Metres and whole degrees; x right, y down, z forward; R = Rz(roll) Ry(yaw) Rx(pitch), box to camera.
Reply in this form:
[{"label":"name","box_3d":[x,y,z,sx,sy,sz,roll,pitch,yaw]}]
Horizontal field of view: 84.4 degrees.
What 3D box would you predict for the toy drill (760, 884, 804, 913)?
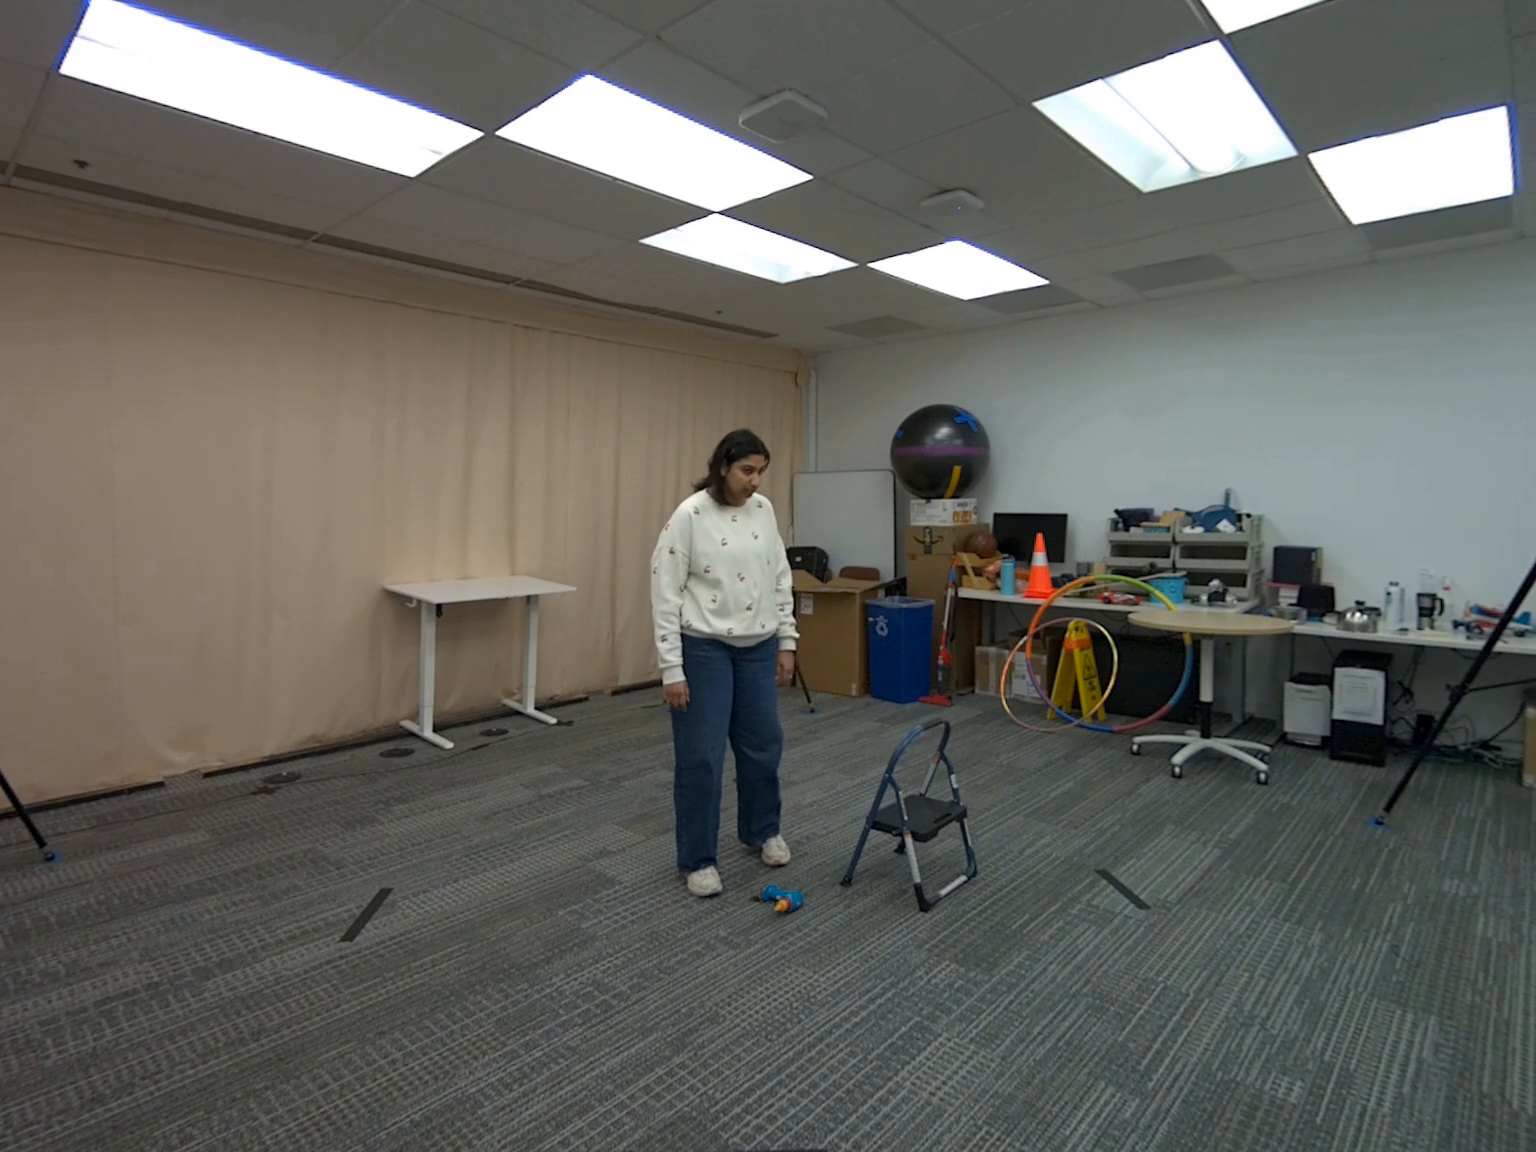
[{"label":"toy drill","box_3d":[0.038,1.120,2.918,0.150,0.061,0.165,4,2,32]}]
